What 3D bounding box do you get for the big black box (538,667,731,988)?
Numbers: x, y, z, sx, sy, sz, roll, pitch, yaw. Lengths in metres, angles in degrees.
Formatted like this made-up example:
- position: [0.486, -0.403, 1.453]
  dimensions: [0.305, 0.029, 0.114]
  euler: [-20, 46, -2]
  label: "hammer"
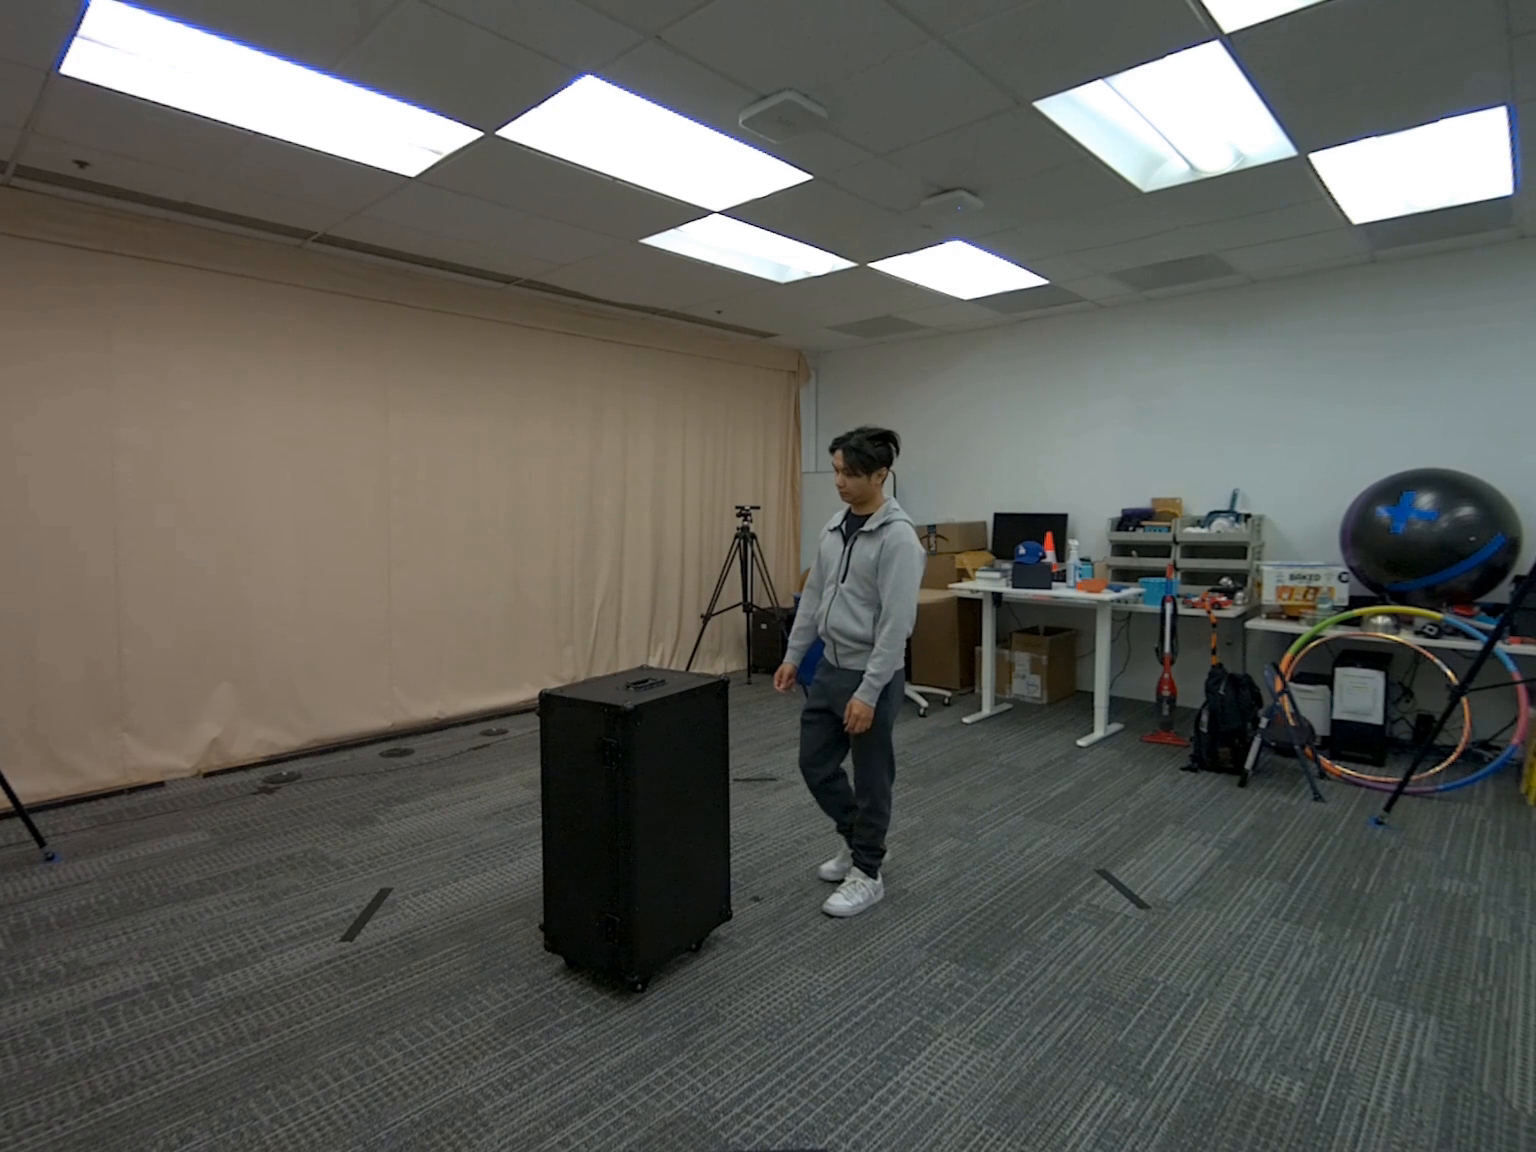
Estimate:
- position: [-0.408, 0.756, 2.588]
  dimensions: [0.408, 0.860, 0.506]
  euler: [1, 3, 33]
  label: "big black box"
